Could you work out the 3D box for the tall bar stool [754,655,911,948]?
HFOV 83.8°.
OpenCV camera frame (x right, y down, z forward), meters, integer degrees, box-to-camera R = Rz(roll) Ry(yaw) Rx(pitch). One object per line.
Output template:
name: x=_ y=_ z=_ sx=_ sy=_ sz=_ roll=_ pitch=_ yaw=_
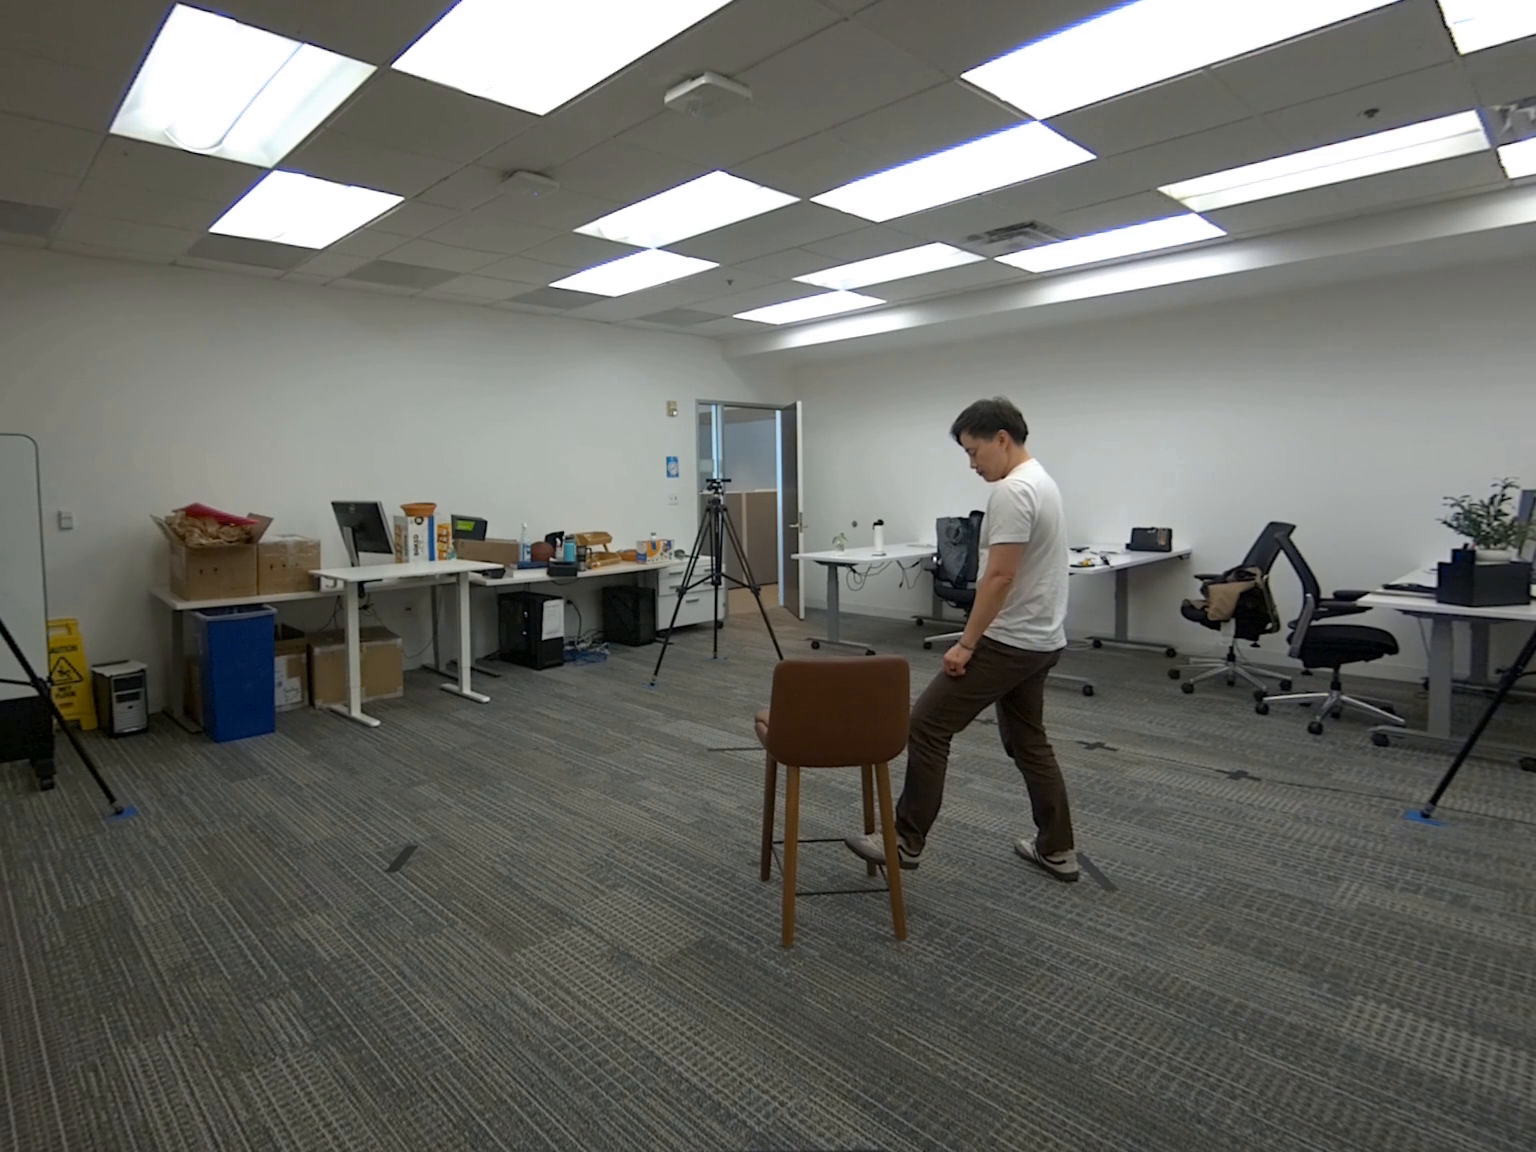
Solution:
tall bar stool: x=0.197 y=0.646 z=2.744 sx=0.454 sy=0.885 sz=0.472 roll=-1 pitch=6 yaw=-5
